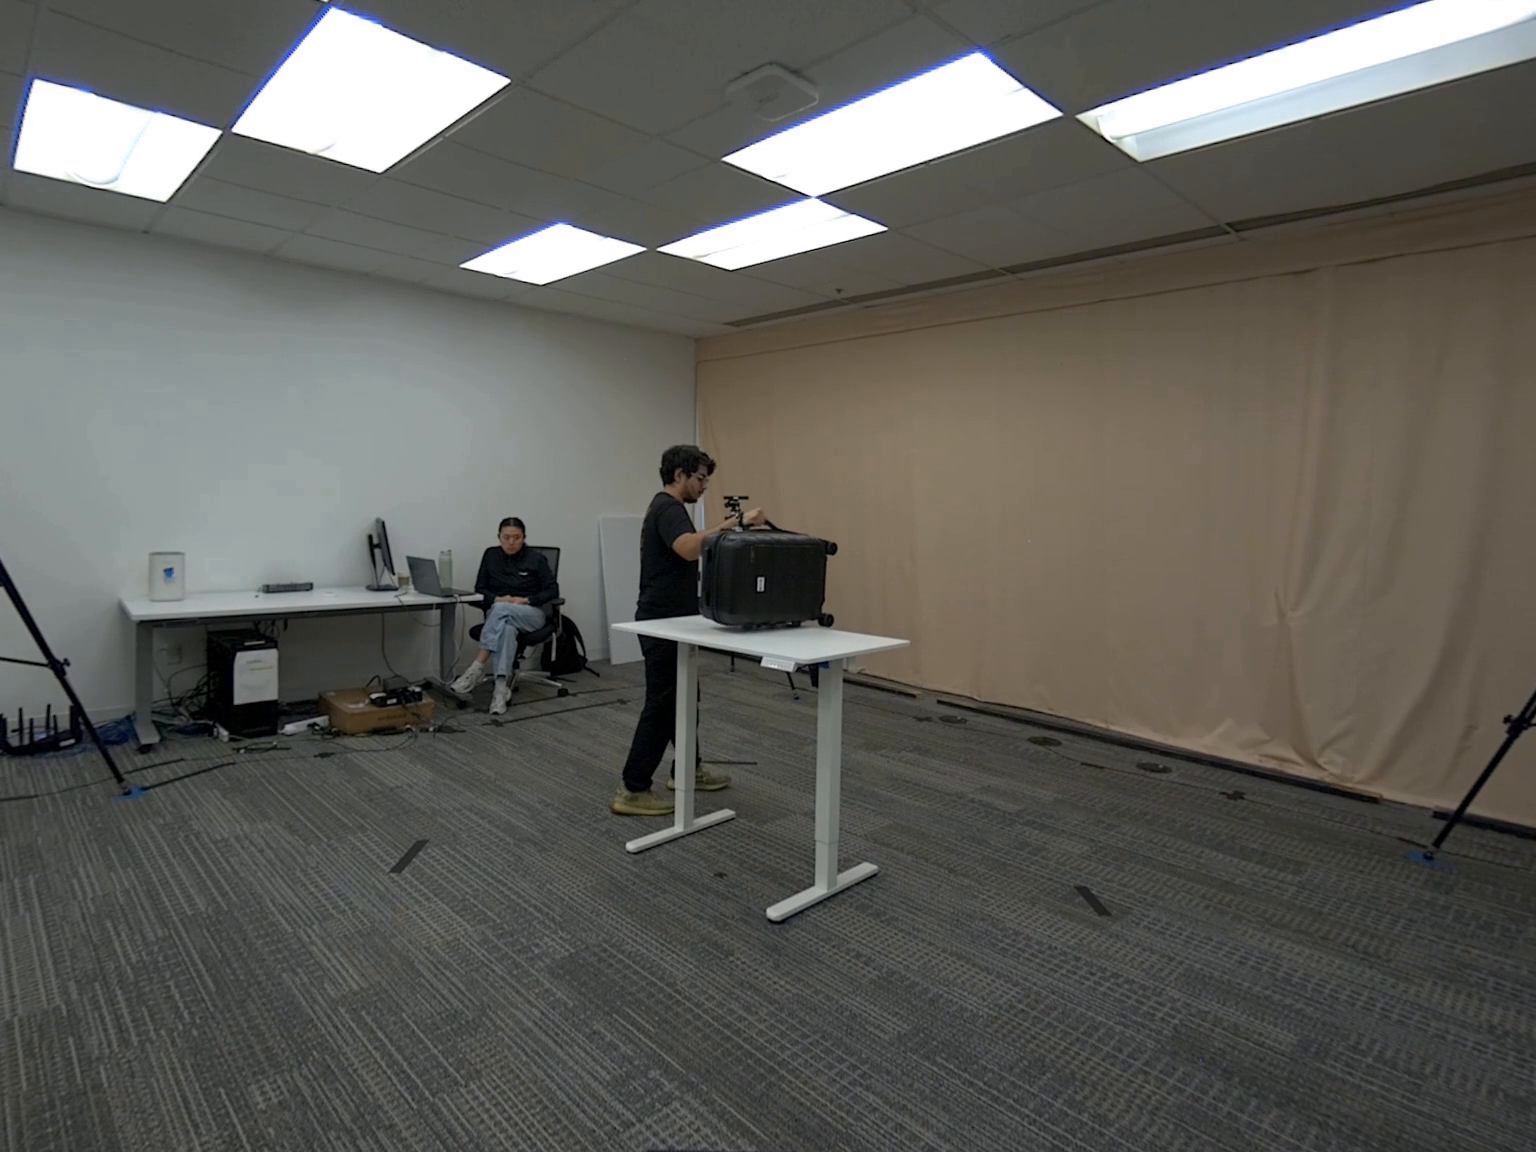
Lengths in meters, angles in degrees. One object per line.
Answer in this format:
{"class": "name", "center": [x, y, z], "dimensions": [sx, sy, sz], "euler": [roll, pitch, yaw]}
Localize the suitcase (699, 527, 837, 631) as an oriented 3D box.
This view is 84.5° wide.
{"class": "suitcase", "center": [-0.013, 0.004, 3.334], "dimensions": [0.536, 0.375, 0.255], "euler": [1, 4, -40]}
